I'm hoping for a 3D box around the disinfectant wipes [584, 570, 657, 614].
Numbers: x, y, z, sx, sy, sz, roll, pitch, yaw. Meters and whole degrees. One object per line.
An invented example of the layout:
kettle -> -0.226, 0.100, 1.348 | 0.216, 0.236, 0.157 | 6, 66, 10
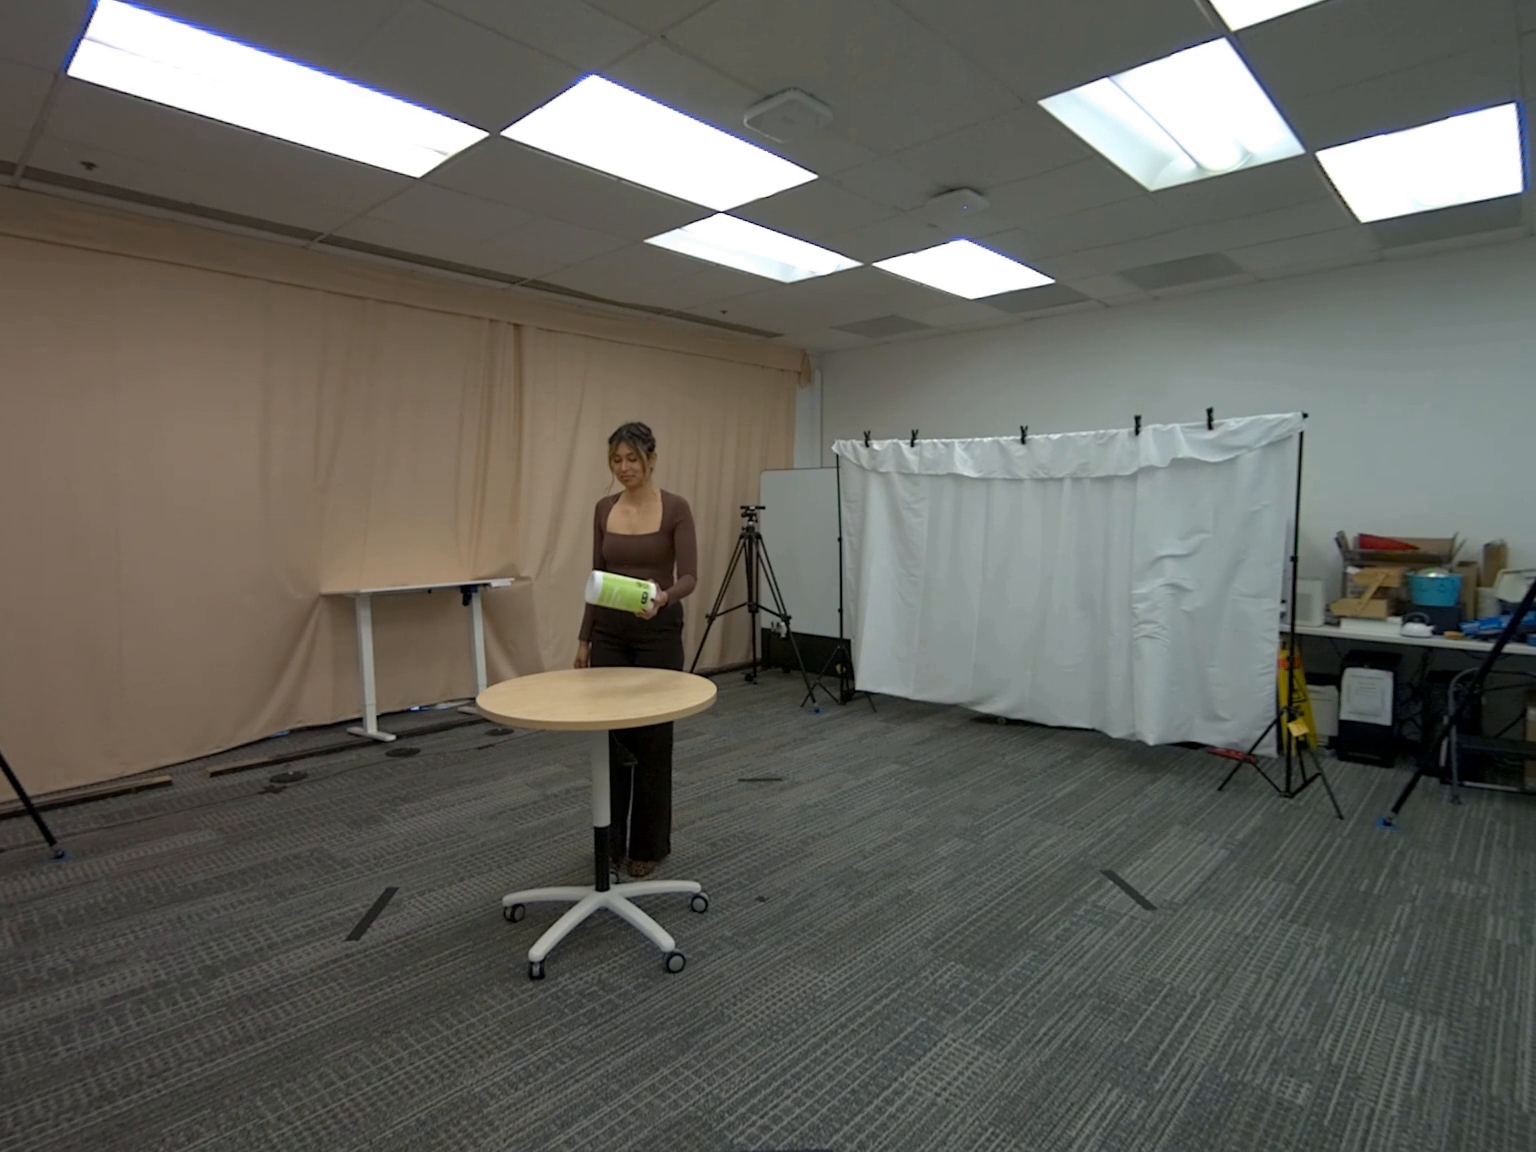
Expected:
disinfectant wipes -> -0.490, 0.056, 2.785 | 0.212, 0.118, 0.121 | 14, -2, -23
